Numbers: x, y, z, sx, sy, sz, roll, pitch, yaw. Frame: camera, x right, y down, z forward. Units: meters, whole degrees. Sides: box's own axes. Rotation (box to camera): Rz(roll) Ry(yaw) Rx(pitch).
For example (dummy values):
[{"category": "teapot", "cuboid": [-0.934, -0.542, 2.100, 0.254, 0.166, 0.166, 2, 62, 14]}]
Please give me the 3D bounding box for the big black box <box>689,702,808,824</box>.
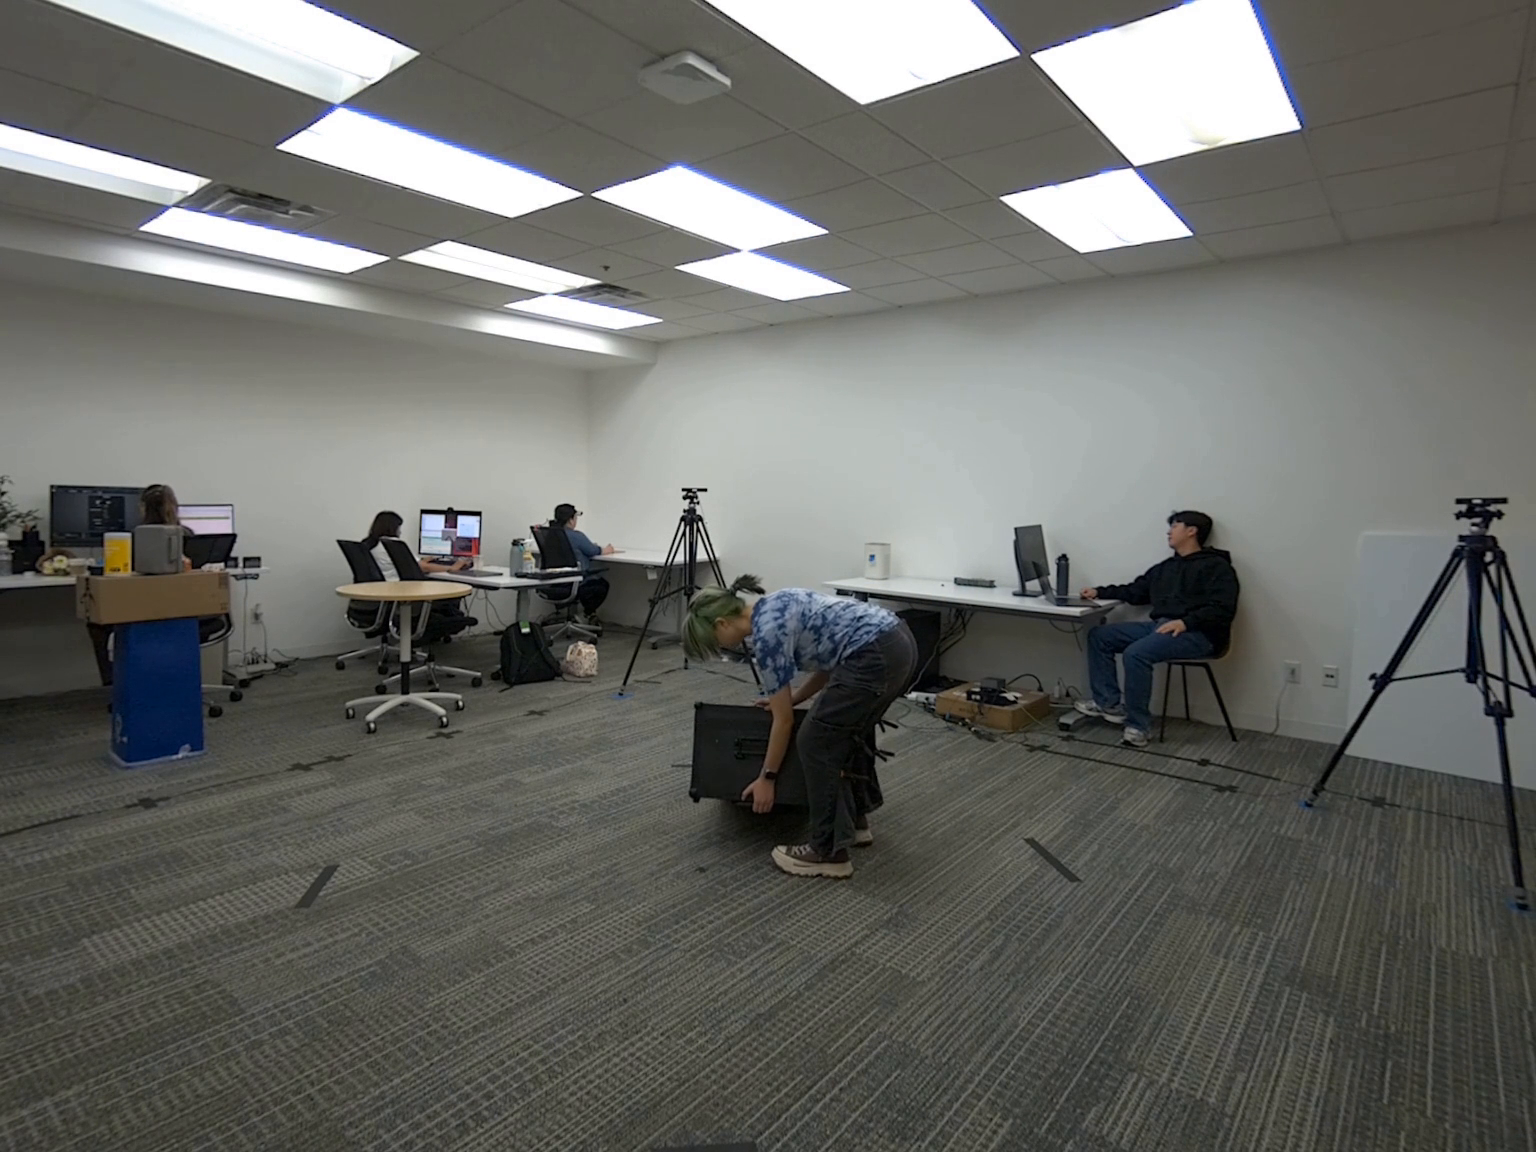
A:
[{"category": "big black box", "cuboid": [-0.023, 0.751, 3.639, 0.526, 0.400, 0.846, 2, -9, 7]}]
